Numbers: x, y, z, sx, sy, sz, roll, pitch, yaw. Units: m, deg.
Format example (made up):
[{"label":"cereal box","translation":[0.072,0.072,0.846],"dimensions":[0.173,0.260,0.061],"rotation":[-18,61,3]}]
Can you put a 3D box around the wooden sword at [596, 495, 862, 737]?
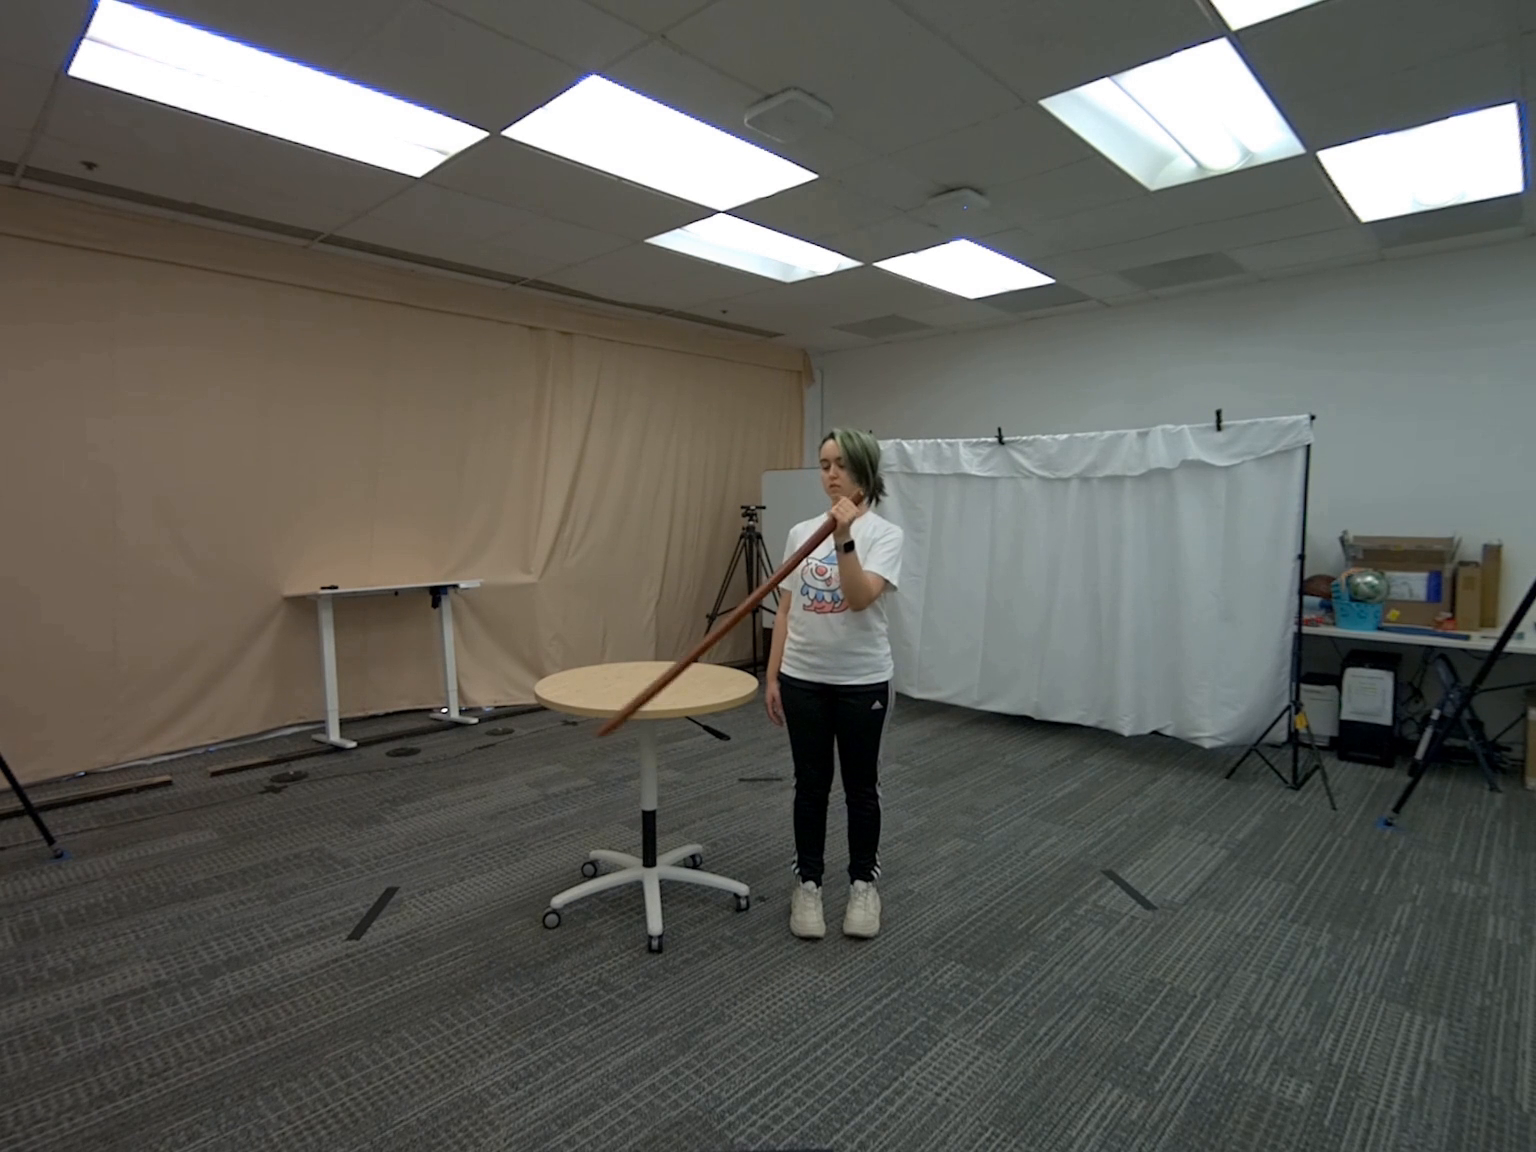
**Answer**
[{"label":"wooden sword","translation":[-0.074,0.097,2.324],"dimensions":[1.018,0.050,0.025],"rotation":[-43,50,-16]}]
